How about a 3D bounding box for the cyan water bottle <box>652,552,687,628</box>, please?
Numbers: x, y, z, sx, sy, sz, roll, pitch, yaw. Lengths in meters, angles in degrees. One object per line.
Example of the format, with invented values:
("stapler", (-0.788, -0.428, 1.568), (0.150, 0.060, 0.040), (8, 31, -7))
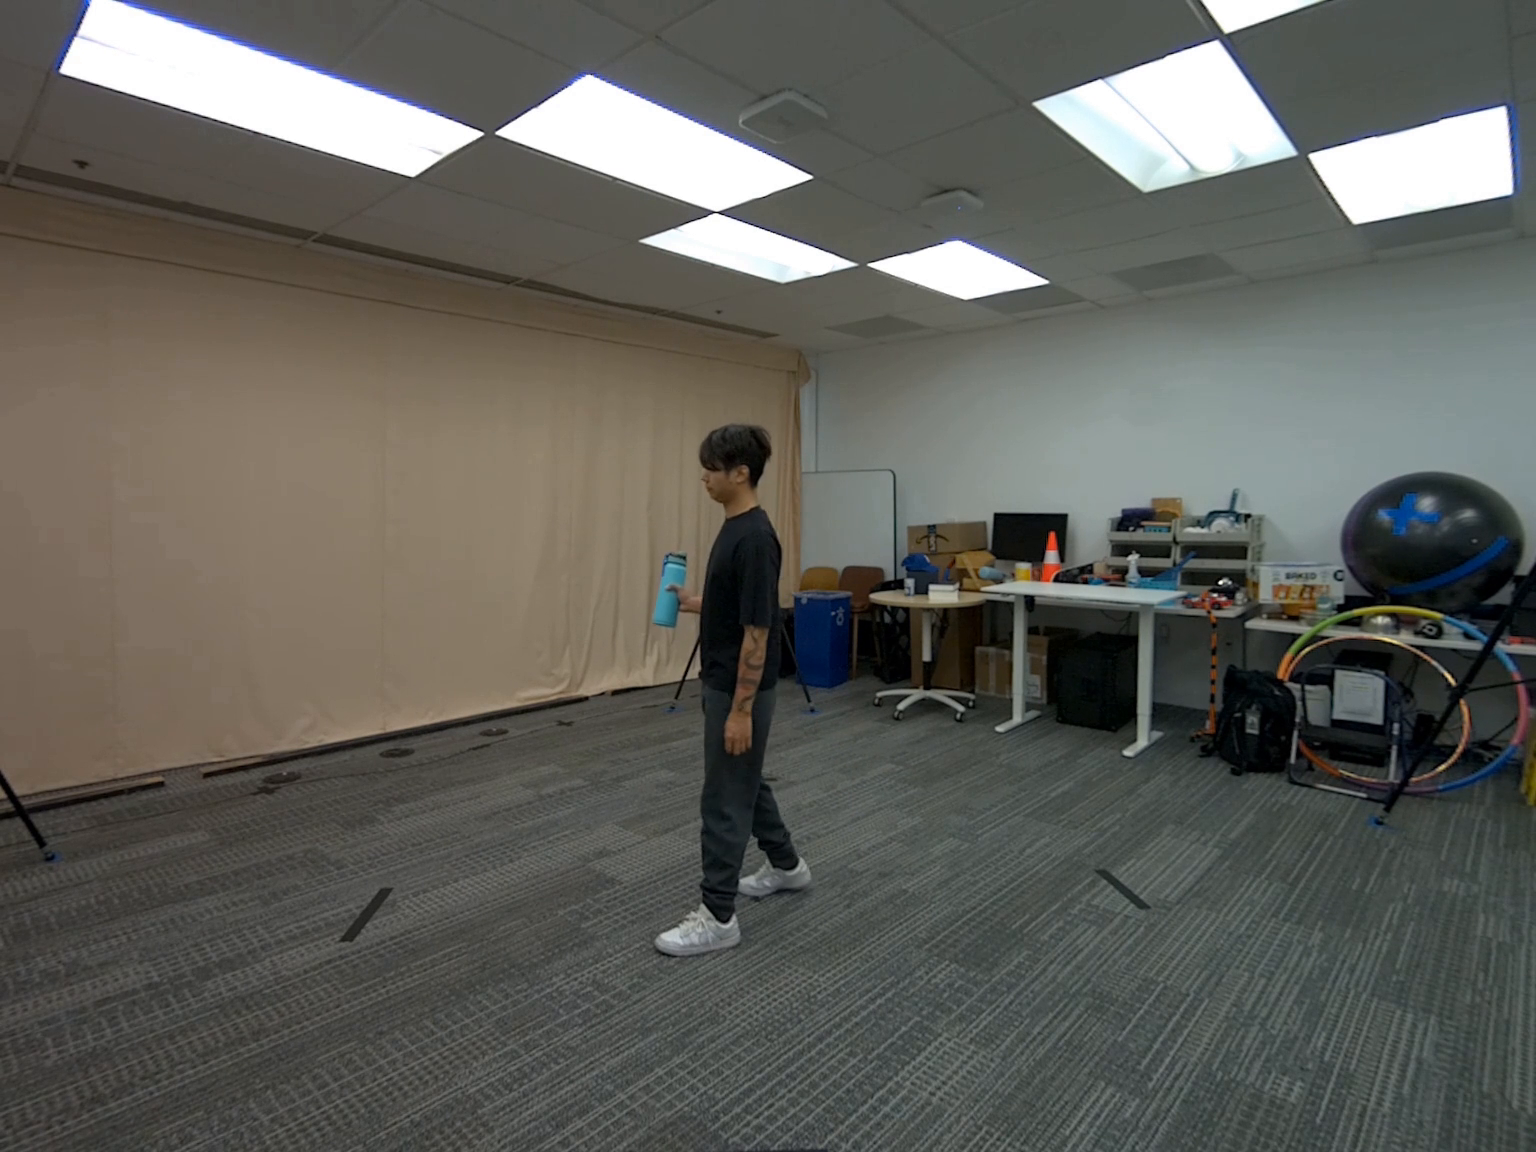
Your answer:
("cyan water bottle", (-0.359, 0.044, 3.137), (0.092, 0.285, 0.092), (7, -10, -1))
